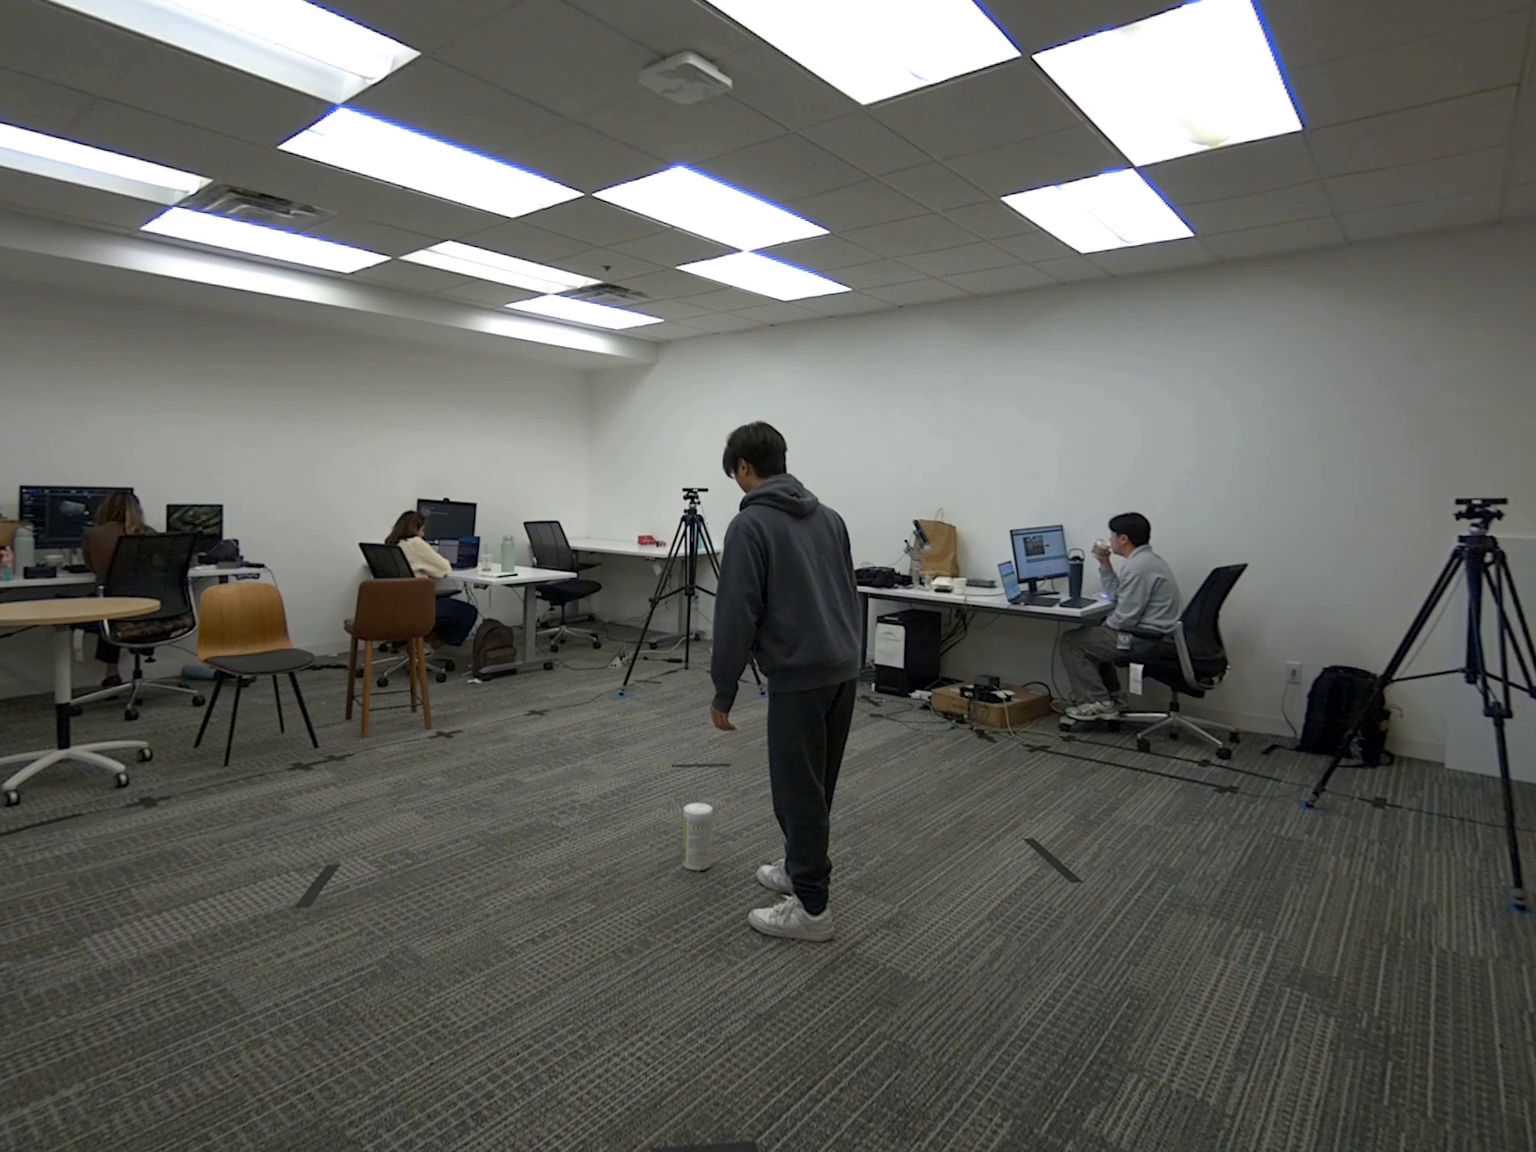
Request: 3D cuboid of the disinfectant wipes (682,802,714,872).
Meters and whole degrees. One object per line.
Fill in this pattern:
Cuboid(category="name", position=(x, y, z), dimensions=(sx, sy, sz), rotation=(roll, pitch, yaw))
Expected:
Cuboid(category="disinfectant wipes", position=(-0.266, 0.958, 3.137), dimensions=(0.118, 0.217, 0.118), rotation=(1, 2, -2))
